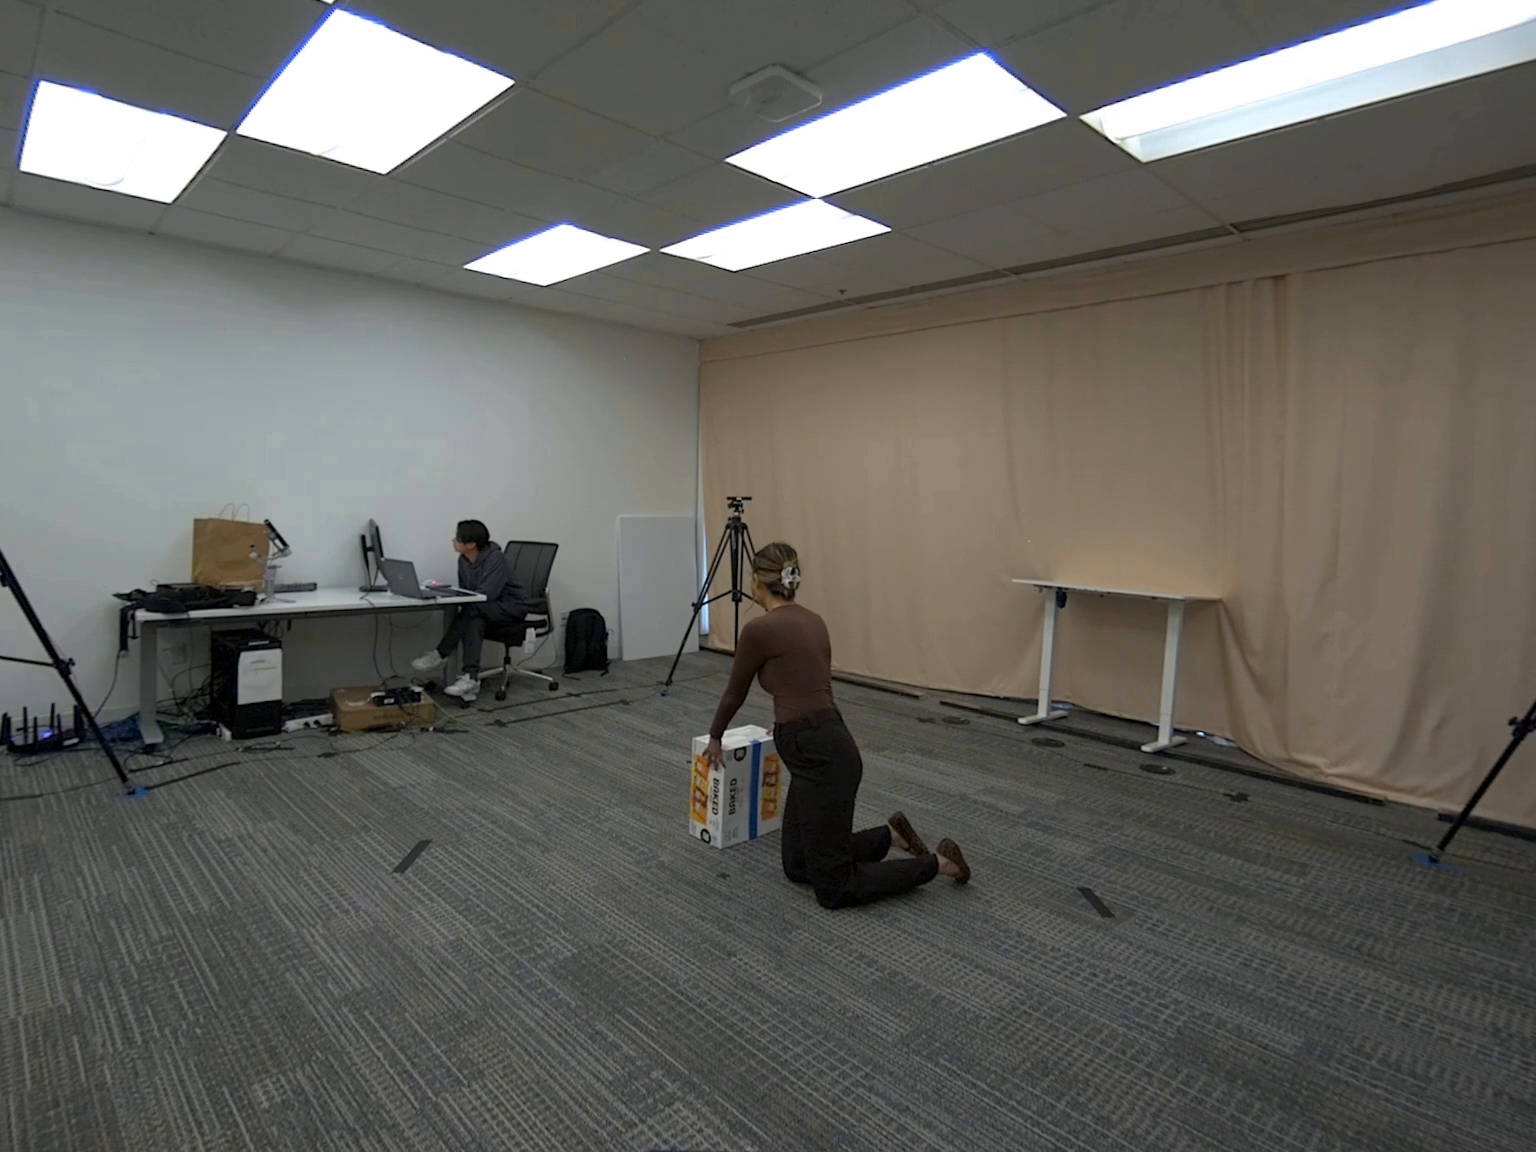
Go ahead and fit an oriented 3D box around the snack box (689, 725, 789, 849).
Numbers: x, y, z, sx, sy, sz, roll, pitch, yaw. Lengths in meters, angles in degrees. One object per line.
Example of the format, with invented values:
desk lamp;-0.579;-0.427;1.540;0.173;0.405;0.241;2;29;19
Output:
snack box;-0.138;0.869;3.509;0.332;0.404;0.211;-3;7;-44
